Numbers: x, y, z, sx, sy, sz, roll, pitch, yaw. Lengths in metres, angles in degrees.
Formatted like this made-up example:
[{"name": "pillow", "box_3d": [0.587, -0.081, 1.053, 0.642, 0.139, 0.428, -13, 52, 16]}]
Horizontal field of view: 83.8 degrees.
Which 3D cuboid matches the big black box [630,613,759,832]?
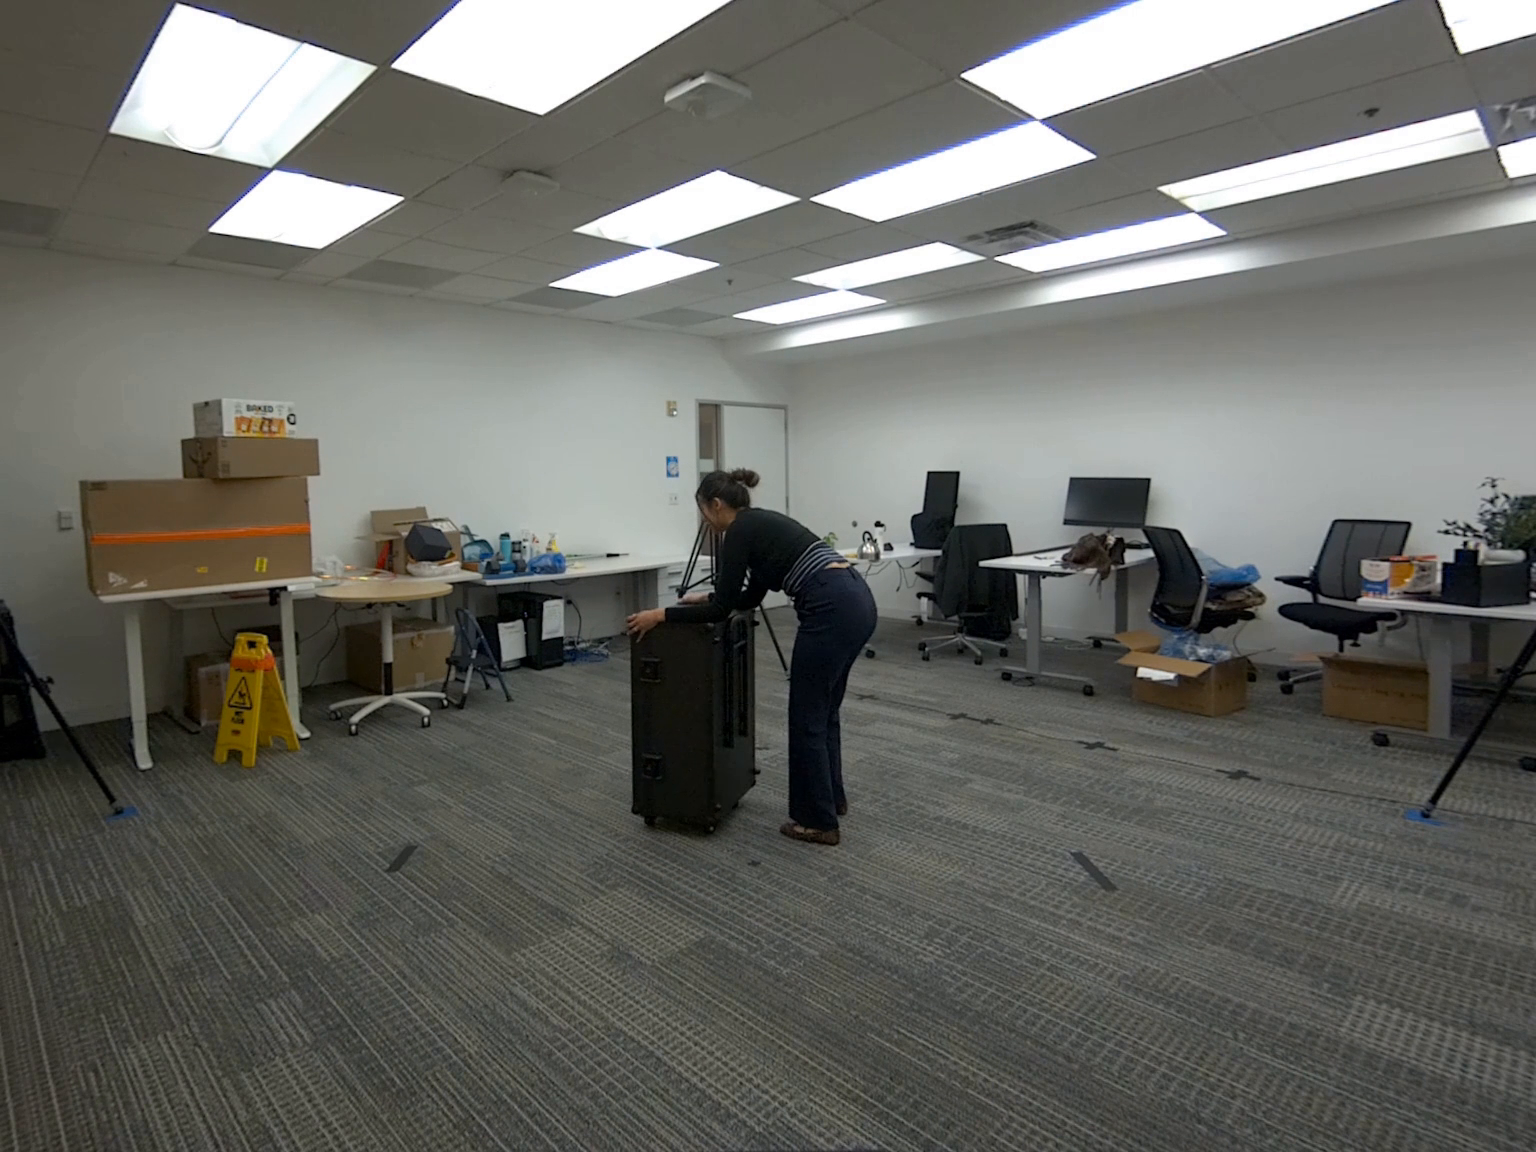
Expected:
[{"name": "big black box", "box_3d": [-0.287, 0.577, 3.540, 0.404, 0.858, 0.513, 2, 4, 20]}]
